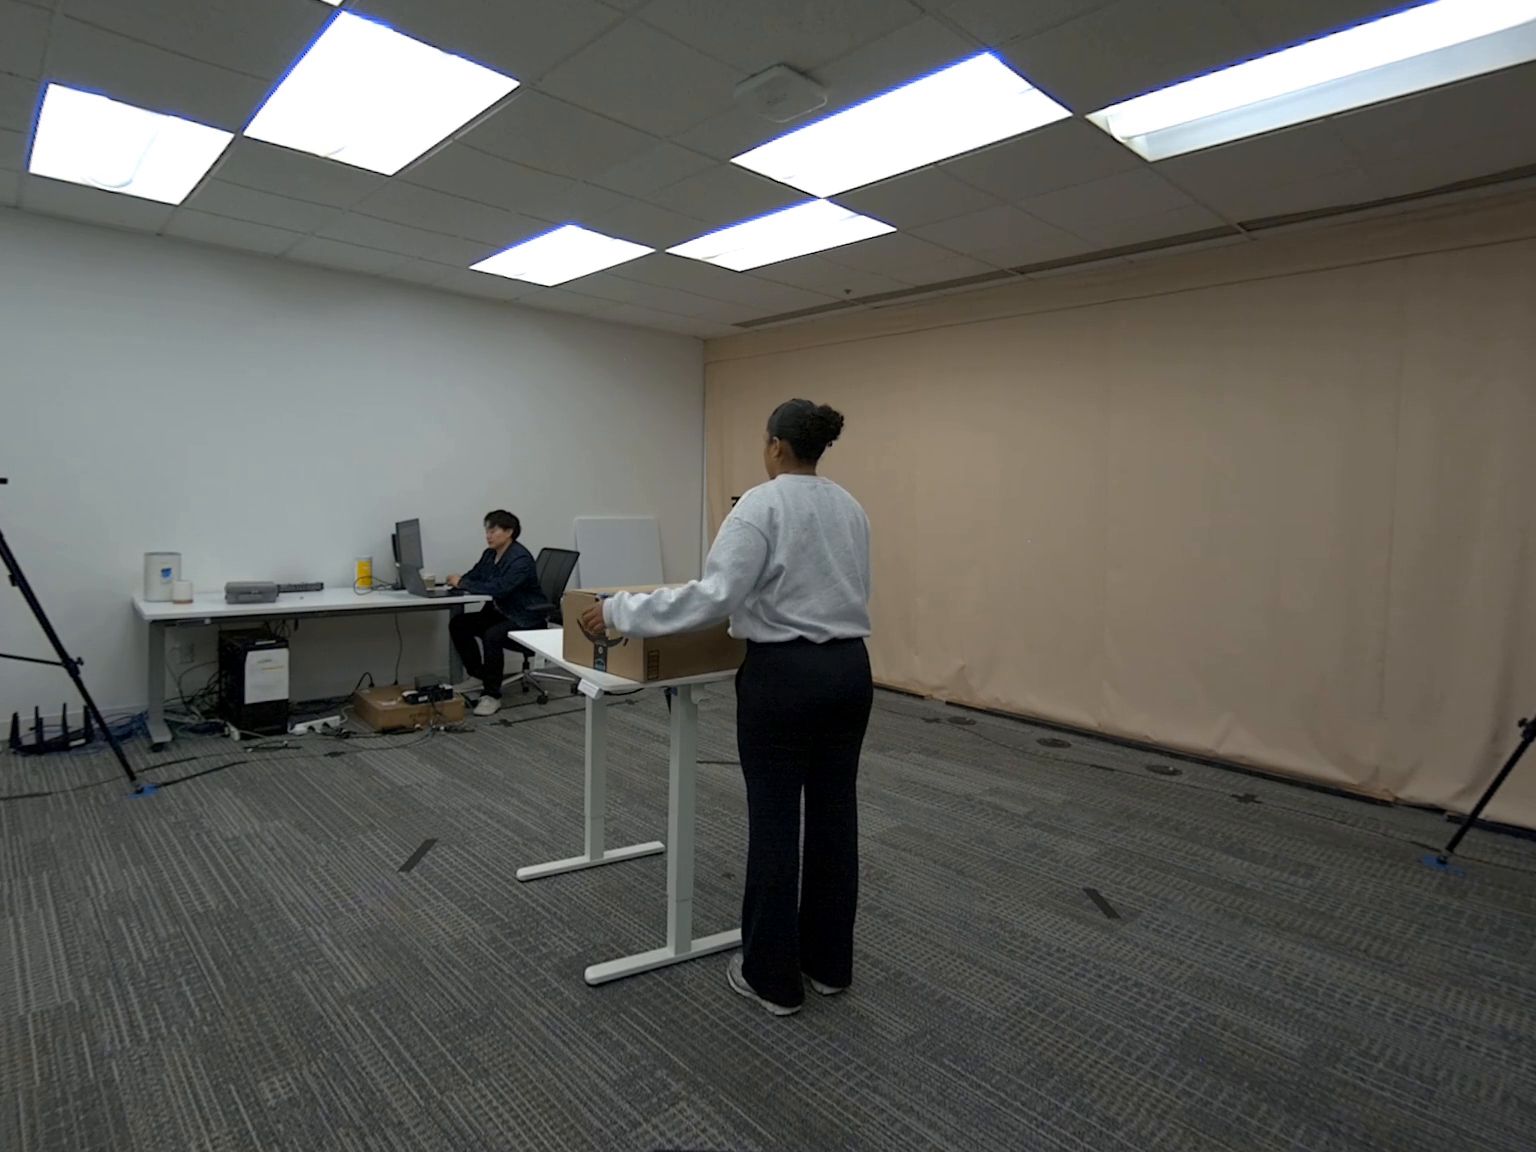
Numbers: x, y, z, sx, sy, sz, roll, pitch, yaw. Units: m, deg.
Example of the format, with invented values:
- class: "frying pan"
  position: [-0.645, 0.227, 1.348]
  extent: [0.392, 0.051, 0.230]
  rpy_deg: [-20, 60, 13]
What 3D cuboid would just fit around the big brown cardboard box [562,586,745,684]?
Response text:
- class: "big brown cardboard box"
  position: [-0.283, 0.158, 2.608]
  extent: [0.576, 0.232, 0.428]
  rpy_deg: [-4, 7, -44]
